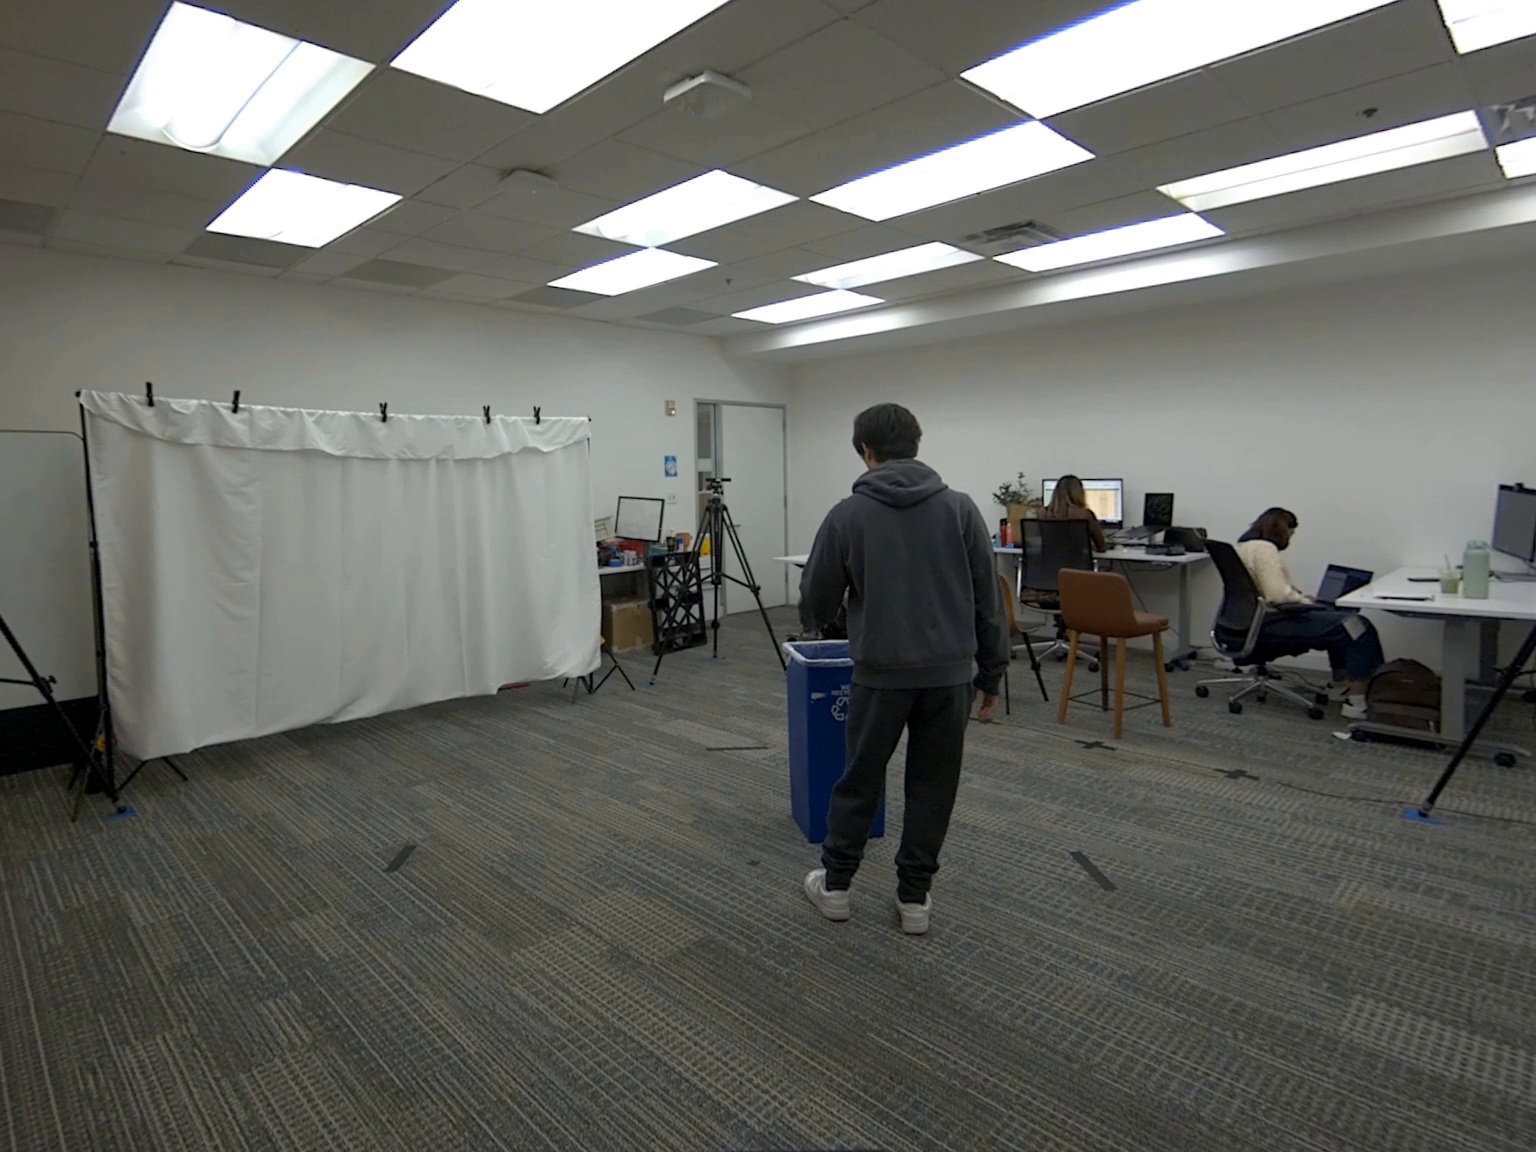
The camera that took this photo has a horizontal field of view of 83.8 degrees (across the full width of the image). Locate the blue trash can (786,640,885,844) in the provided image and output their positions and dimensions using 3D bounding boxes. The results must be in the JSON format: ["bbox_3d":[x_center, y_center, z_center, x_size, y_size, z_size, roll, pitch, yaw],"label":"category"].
[{"bbox_3d":[0.278,0.643,3.413,0.370,0.710,0.383,-2,5,-11],"label":"blue trash can"}]
